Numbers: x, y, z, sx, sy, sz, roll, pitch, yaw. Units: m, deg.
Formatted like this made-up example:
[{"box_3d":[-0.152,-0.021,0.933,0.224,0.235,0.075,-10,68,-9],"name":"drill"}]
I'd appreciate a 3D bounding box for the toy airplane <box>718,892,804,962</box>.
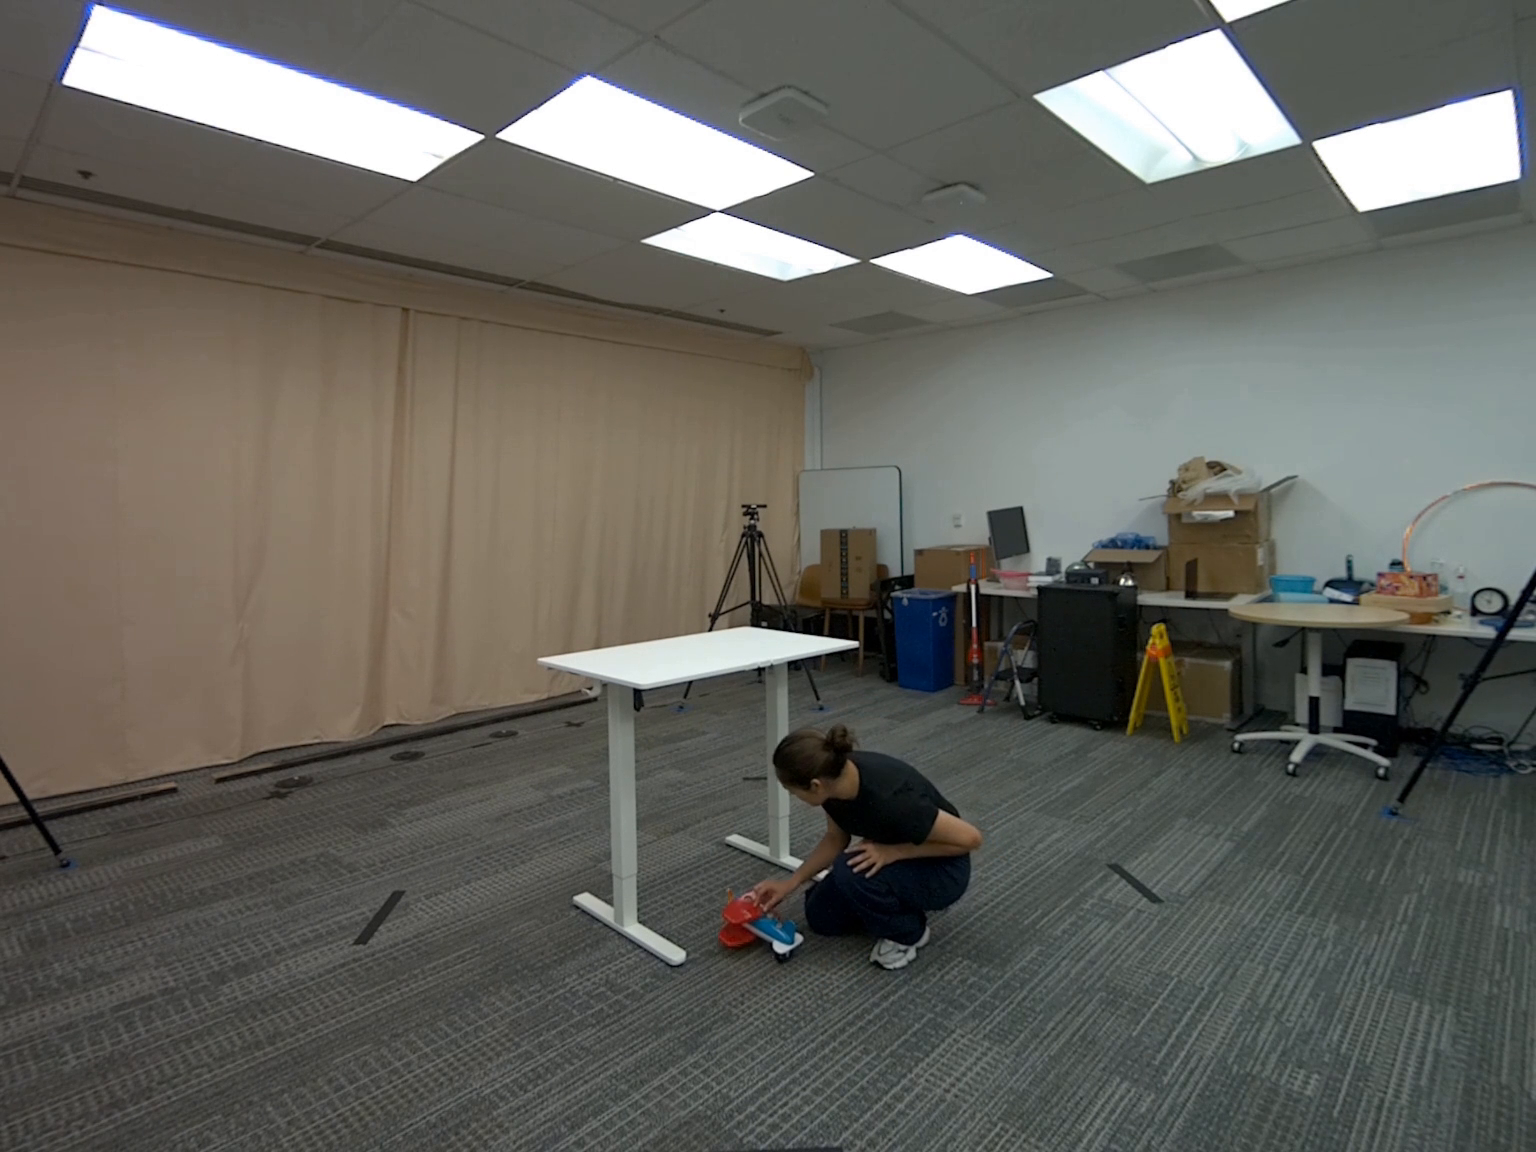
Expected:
[{"box_3d":[0.011,1.102,2.648,0.263,0.156,0.248,0,3,13],"name":"toy airplane"}]
